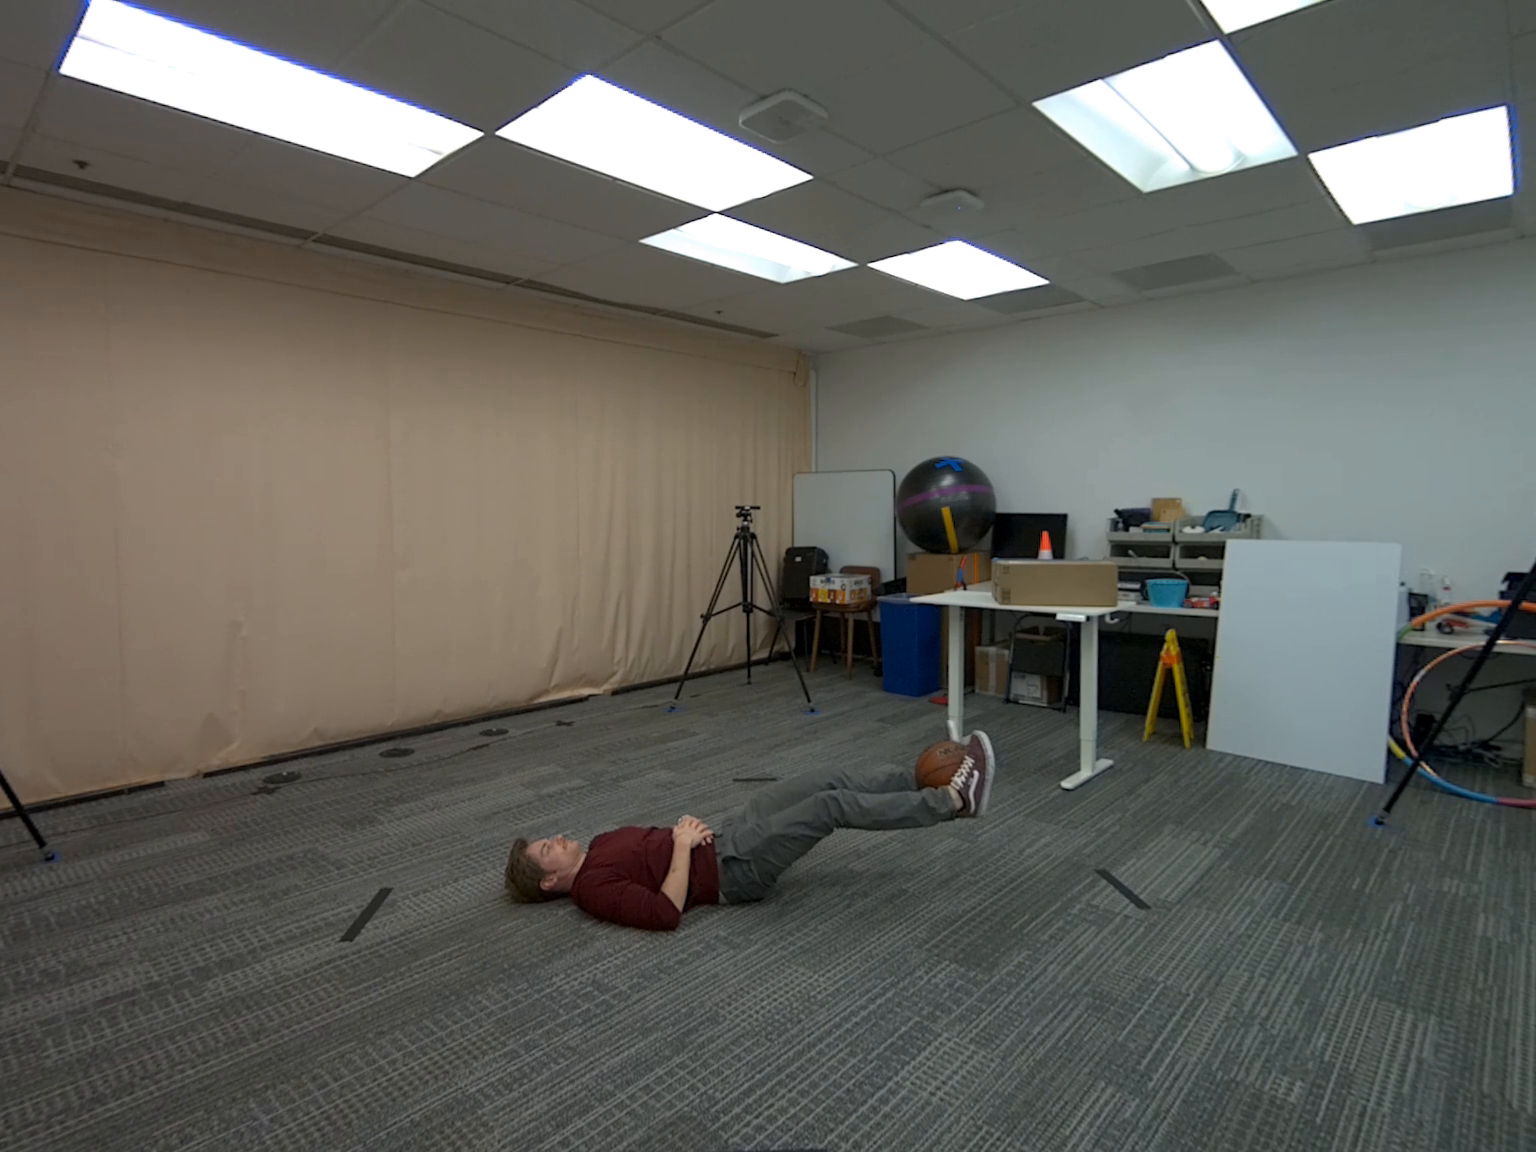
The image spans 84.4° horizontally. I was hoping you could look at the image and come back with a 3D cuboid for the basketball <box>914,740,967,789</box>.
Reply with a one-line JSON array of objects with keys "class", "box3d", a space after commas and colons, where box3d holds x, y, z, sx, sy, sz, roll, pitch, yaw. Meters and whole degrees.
[{"class": "basketball", "box3d": [0.651, 0.707, 3.013, 0.235, 0.235, 0.237, 3, 5, -2]}]
